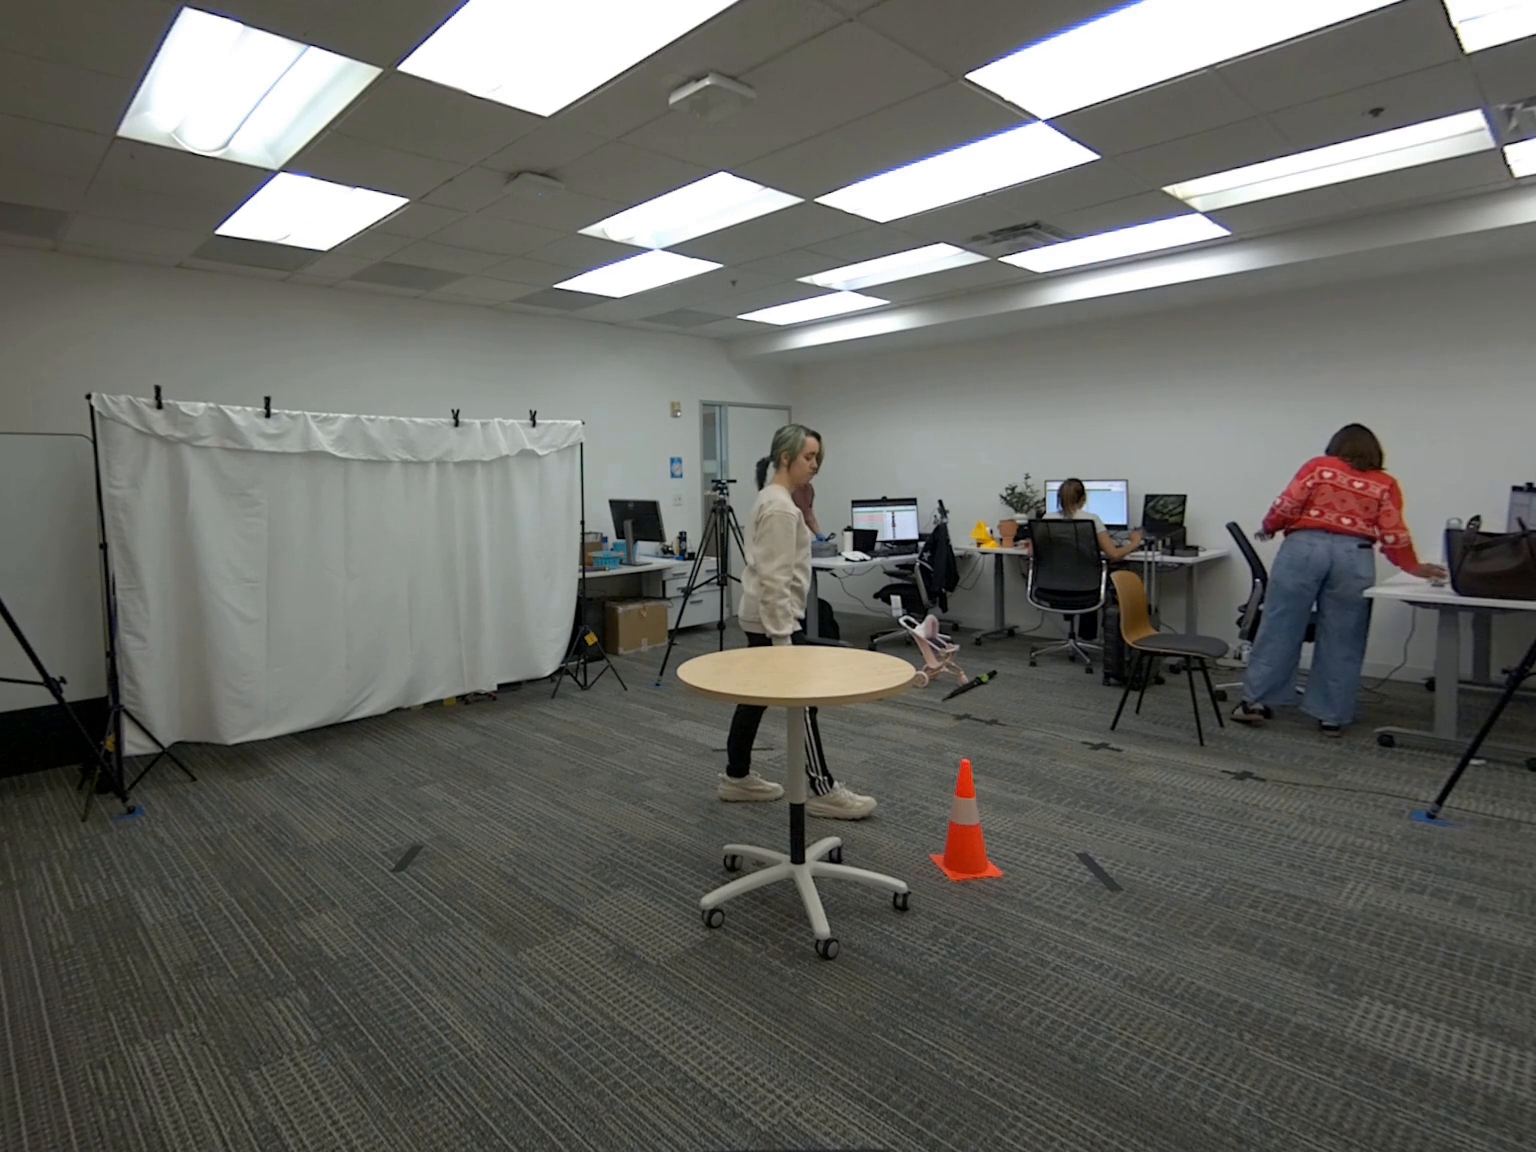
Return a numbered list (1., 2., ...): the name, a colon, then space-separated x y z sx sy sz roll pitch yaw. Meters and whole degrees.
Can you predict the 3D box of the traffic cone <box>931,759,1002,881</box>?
1. traffic cone: 0.716 0.856 3.054 0.203 0.382 0.206 -1 4 -11
